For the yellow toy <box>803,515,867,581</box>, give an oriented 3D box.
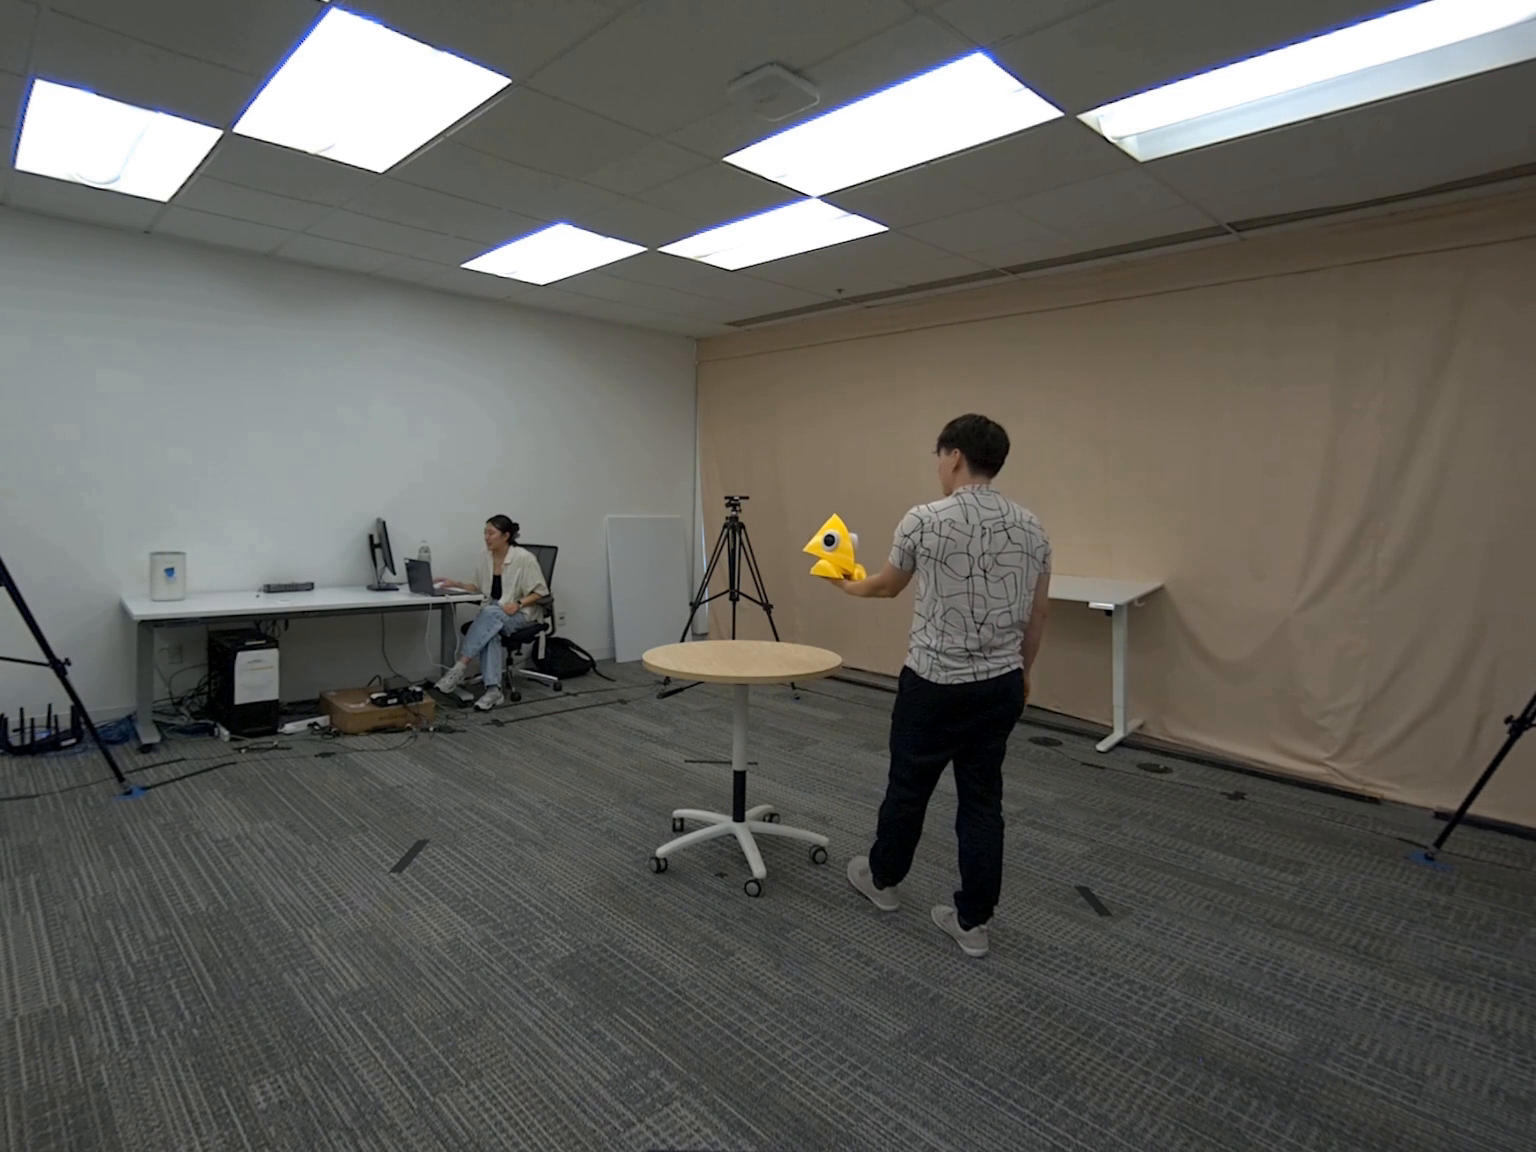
[{"bbox_3d":[0.260,-0.110,3.084,0.200,0.230,0.198,7,1,-32],"label":"yellow toy"}]
